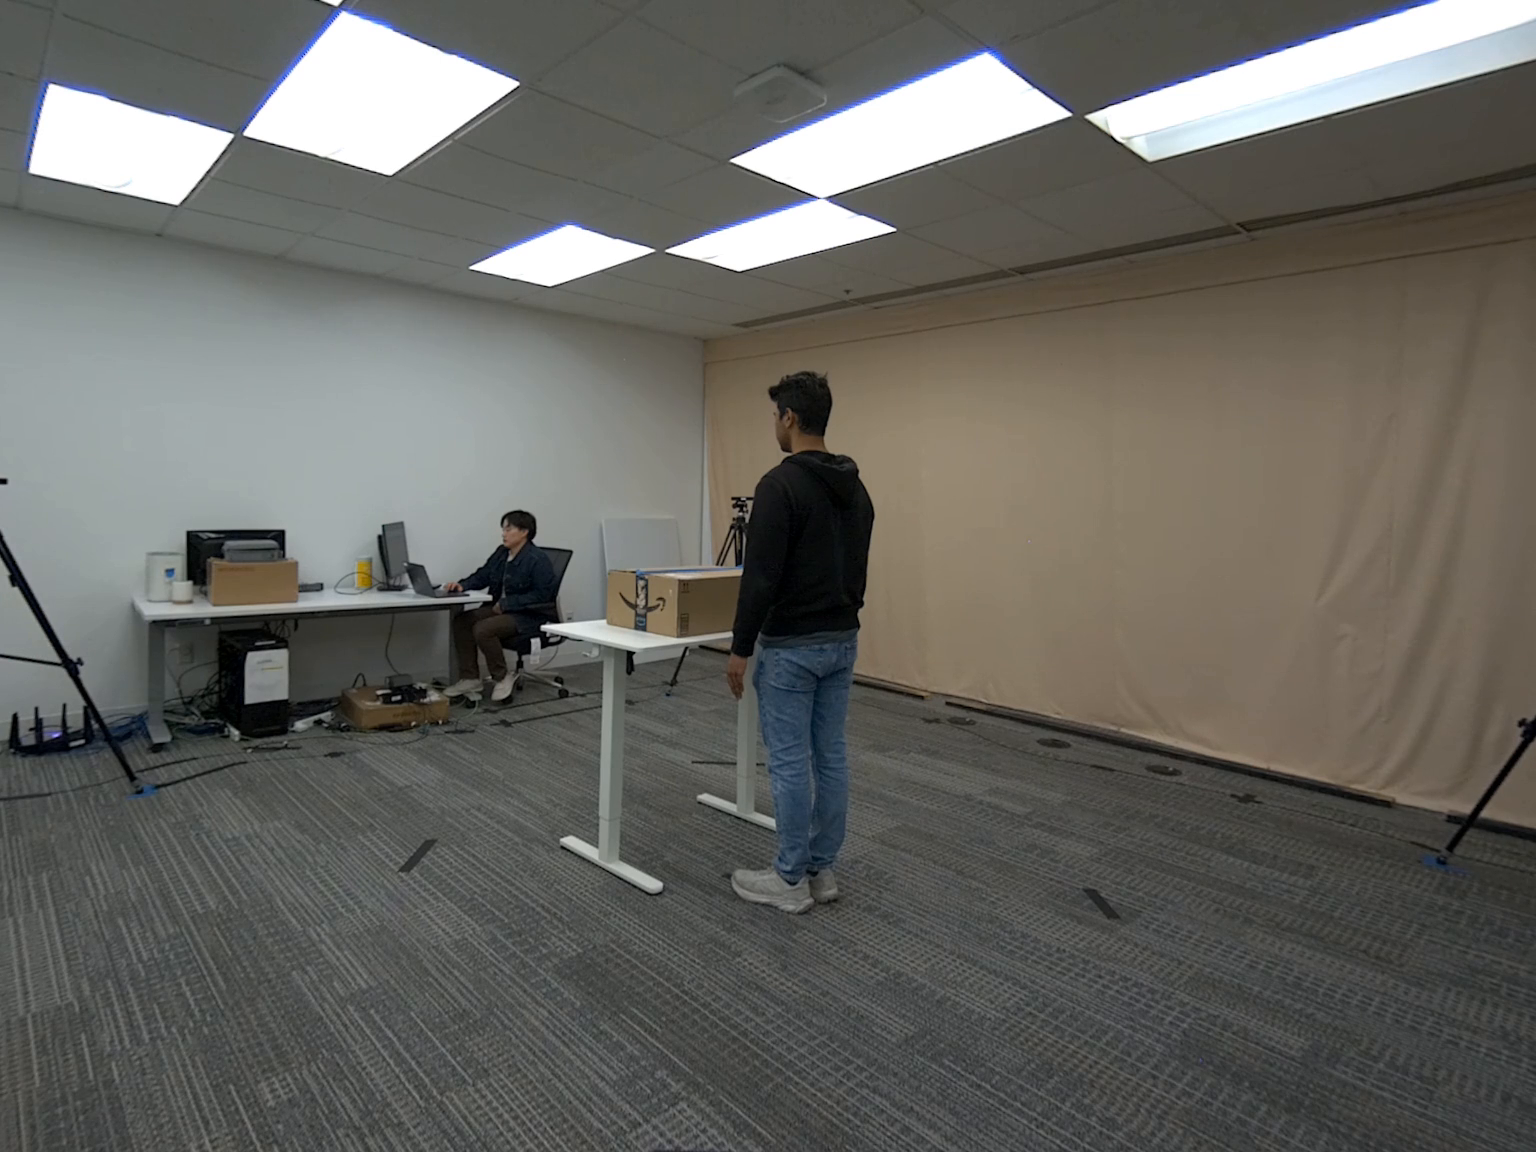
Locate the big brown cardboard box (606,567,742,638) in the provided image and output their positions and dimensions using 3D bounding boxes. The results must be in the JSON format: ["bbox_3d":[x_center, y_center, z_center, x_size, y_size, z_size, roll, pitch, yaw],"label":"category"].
[{"bbox_3d":[-0.299,0.088,3.372,0.428,0.232,0.575,6,5,41],"label":"big brown cardboard box"}]
